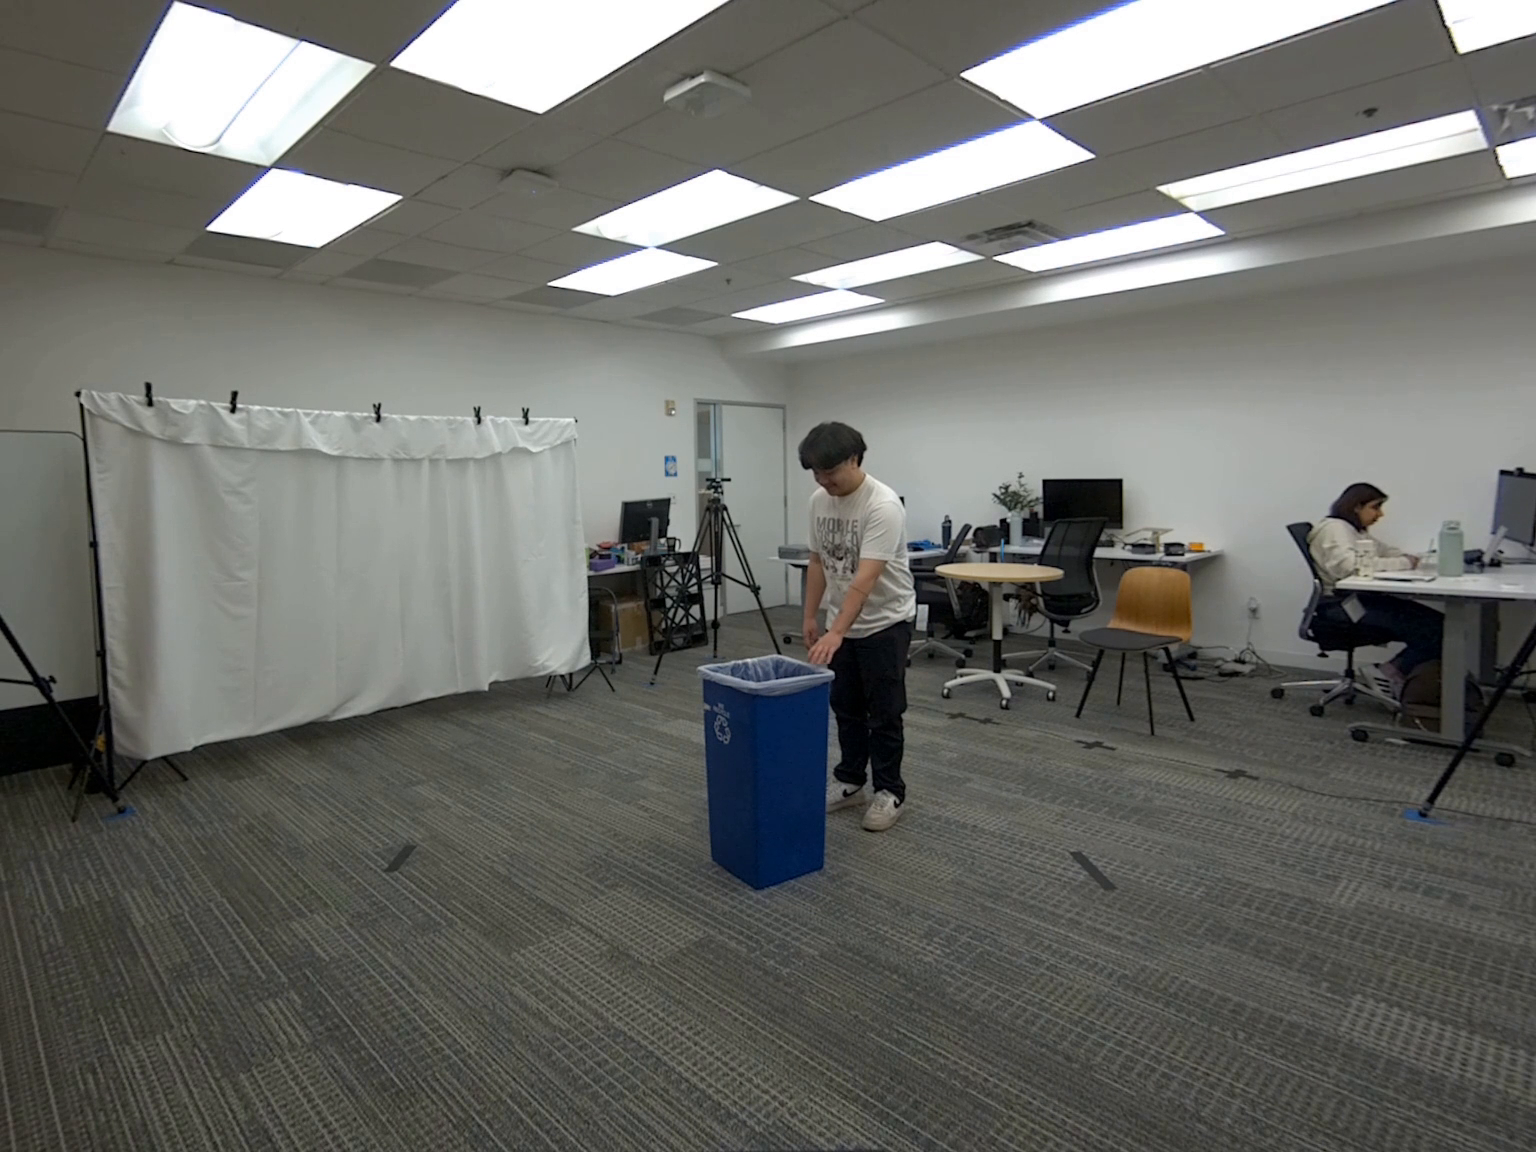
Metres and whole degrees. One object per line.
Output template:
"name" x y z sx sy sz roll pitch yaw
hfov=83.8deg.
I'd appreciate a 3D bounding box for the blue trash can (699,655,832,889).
"blue trash can" 0.001 0.686 3.068 0.368 0.711 0.385 -4 5 -35
